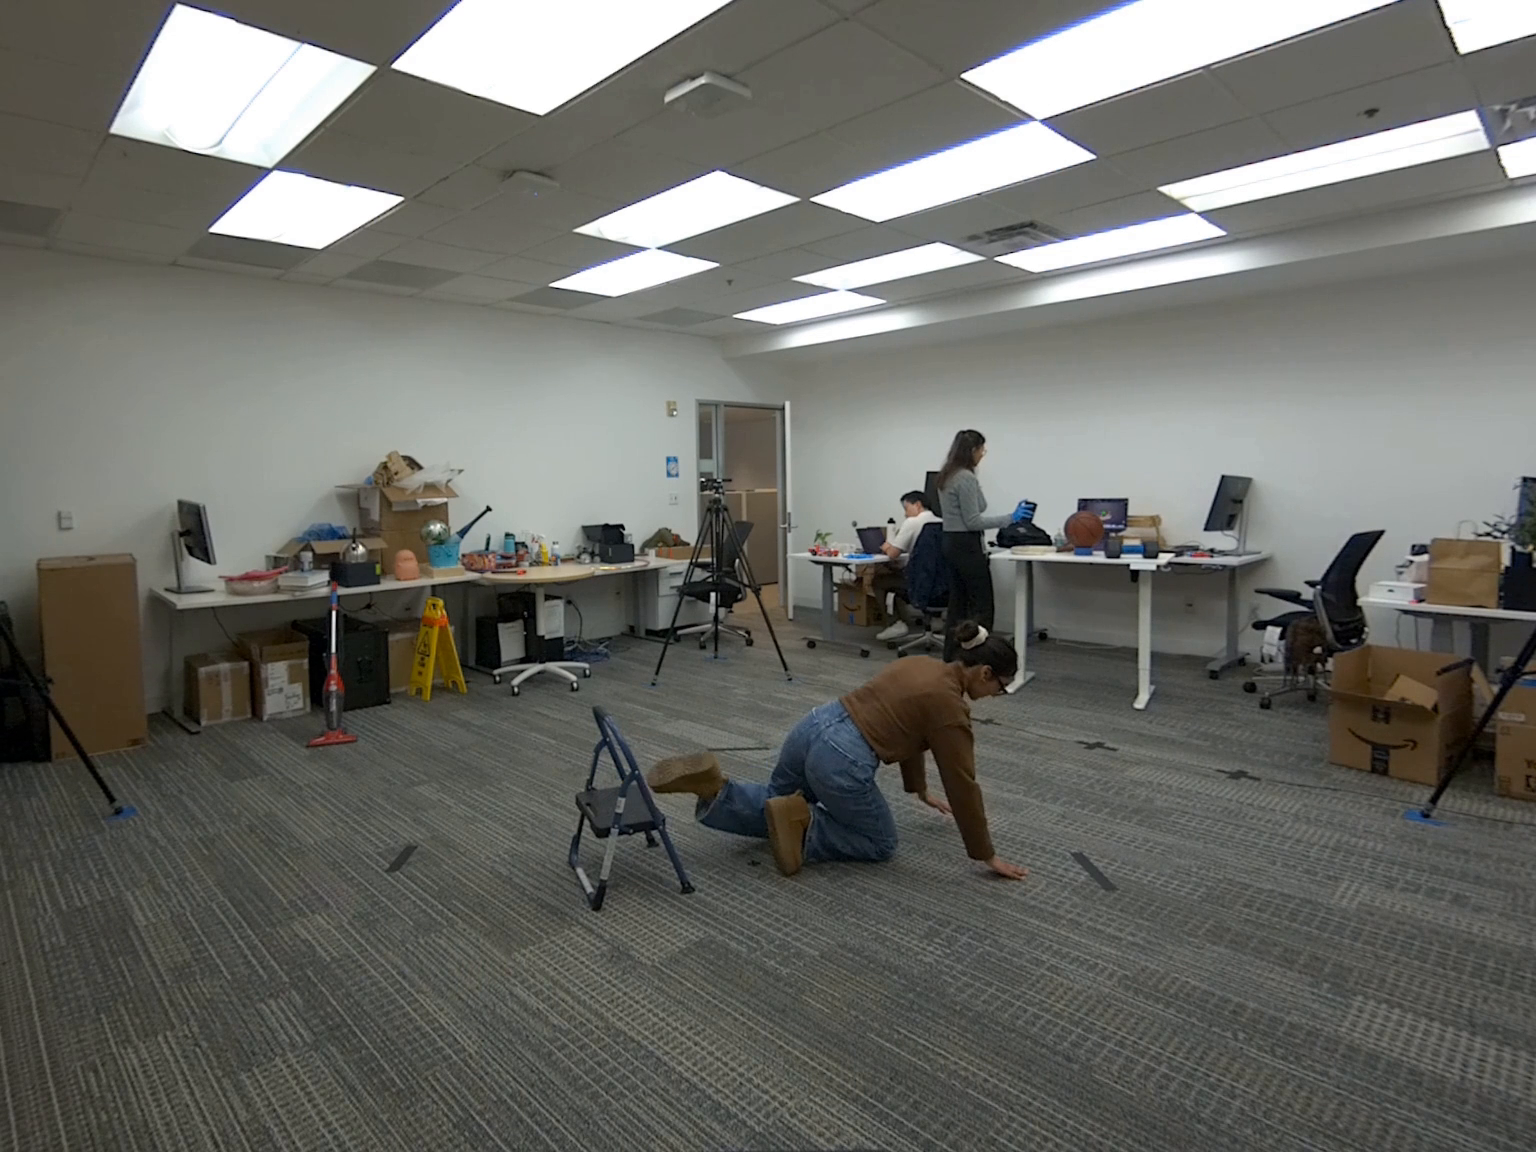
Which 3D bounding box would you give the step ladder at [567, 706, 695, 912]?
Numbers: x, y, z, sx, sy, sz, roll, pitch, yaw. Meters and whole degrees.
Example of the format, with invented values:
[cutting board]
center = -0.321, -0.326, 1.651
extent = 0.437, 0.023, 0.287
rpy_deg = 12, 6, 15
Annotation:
[step ladder]
center = -0.502, 0.763, 3.009
extent = 0.342, 0.604, 0.441
rpy_deg = -3, 5, -25
